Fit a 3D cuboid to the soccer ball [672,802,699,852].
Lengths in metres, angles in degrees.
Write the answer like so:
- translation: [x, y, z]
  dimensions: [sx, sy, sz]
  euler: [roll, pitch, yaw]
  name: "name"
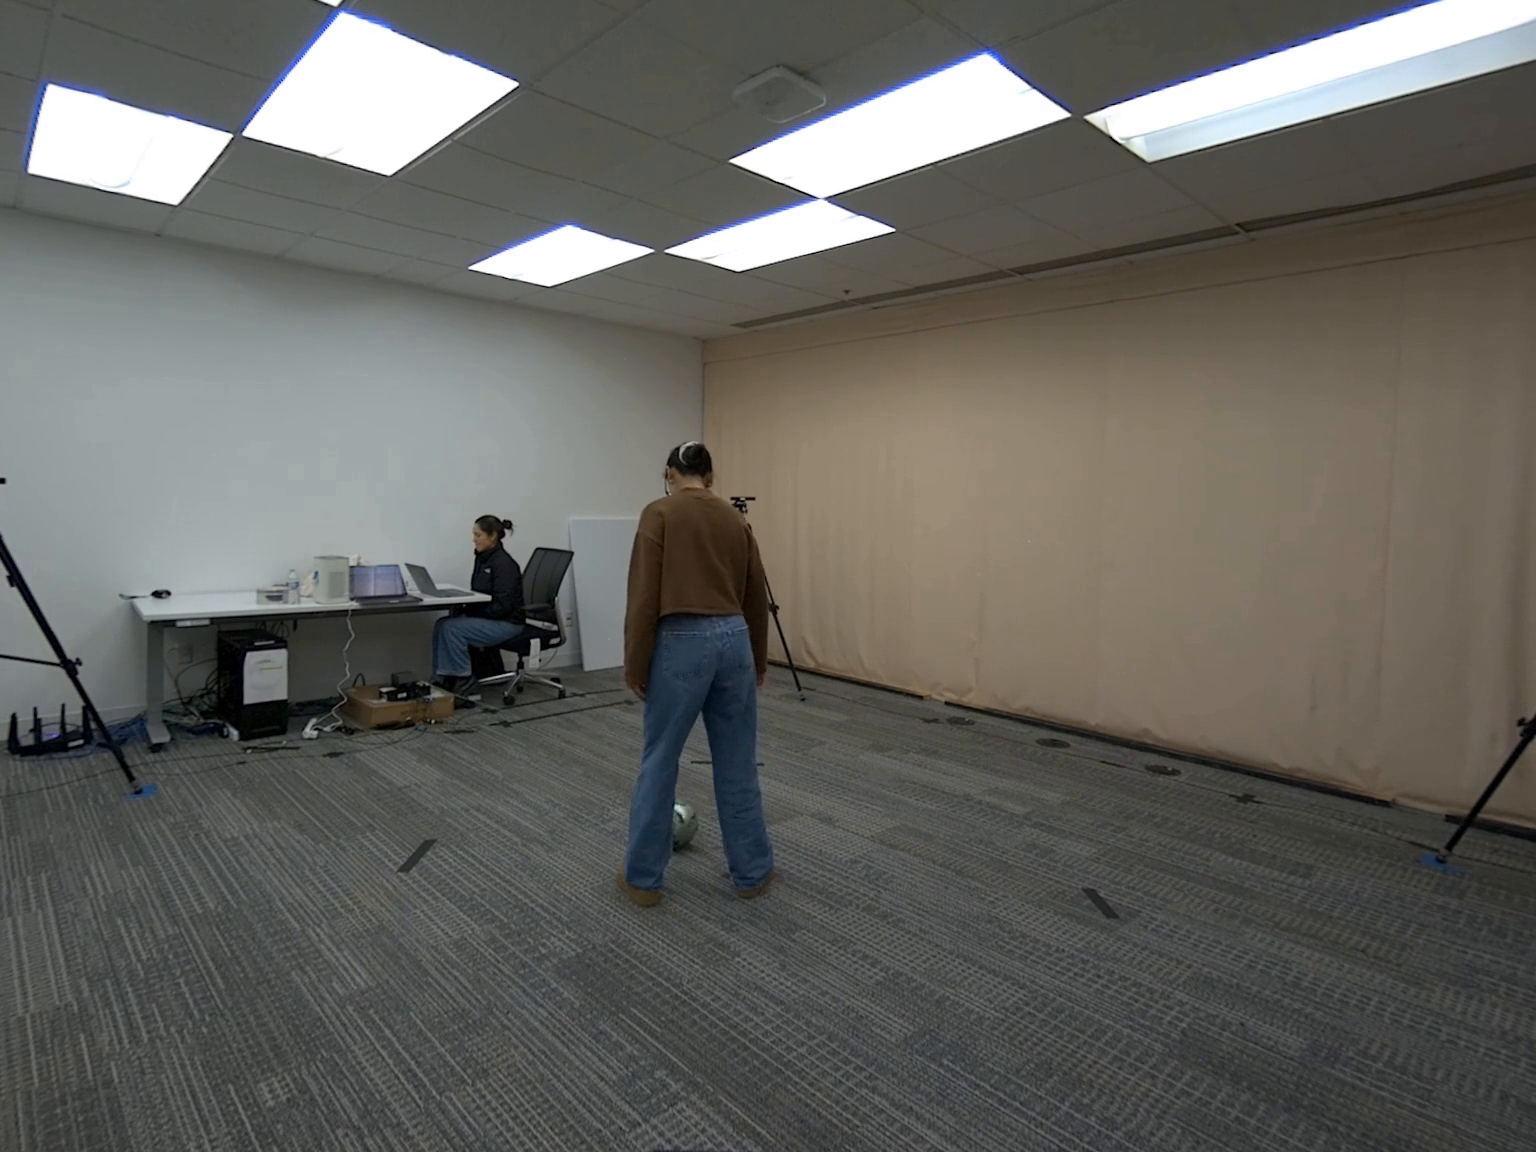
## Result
- translation: [-0.375, 0.990, 3.349]
  dimensions: [0.187, 0.187, 0.188]
  euler: [1, 4, -1]
  name: "soccer ball"
